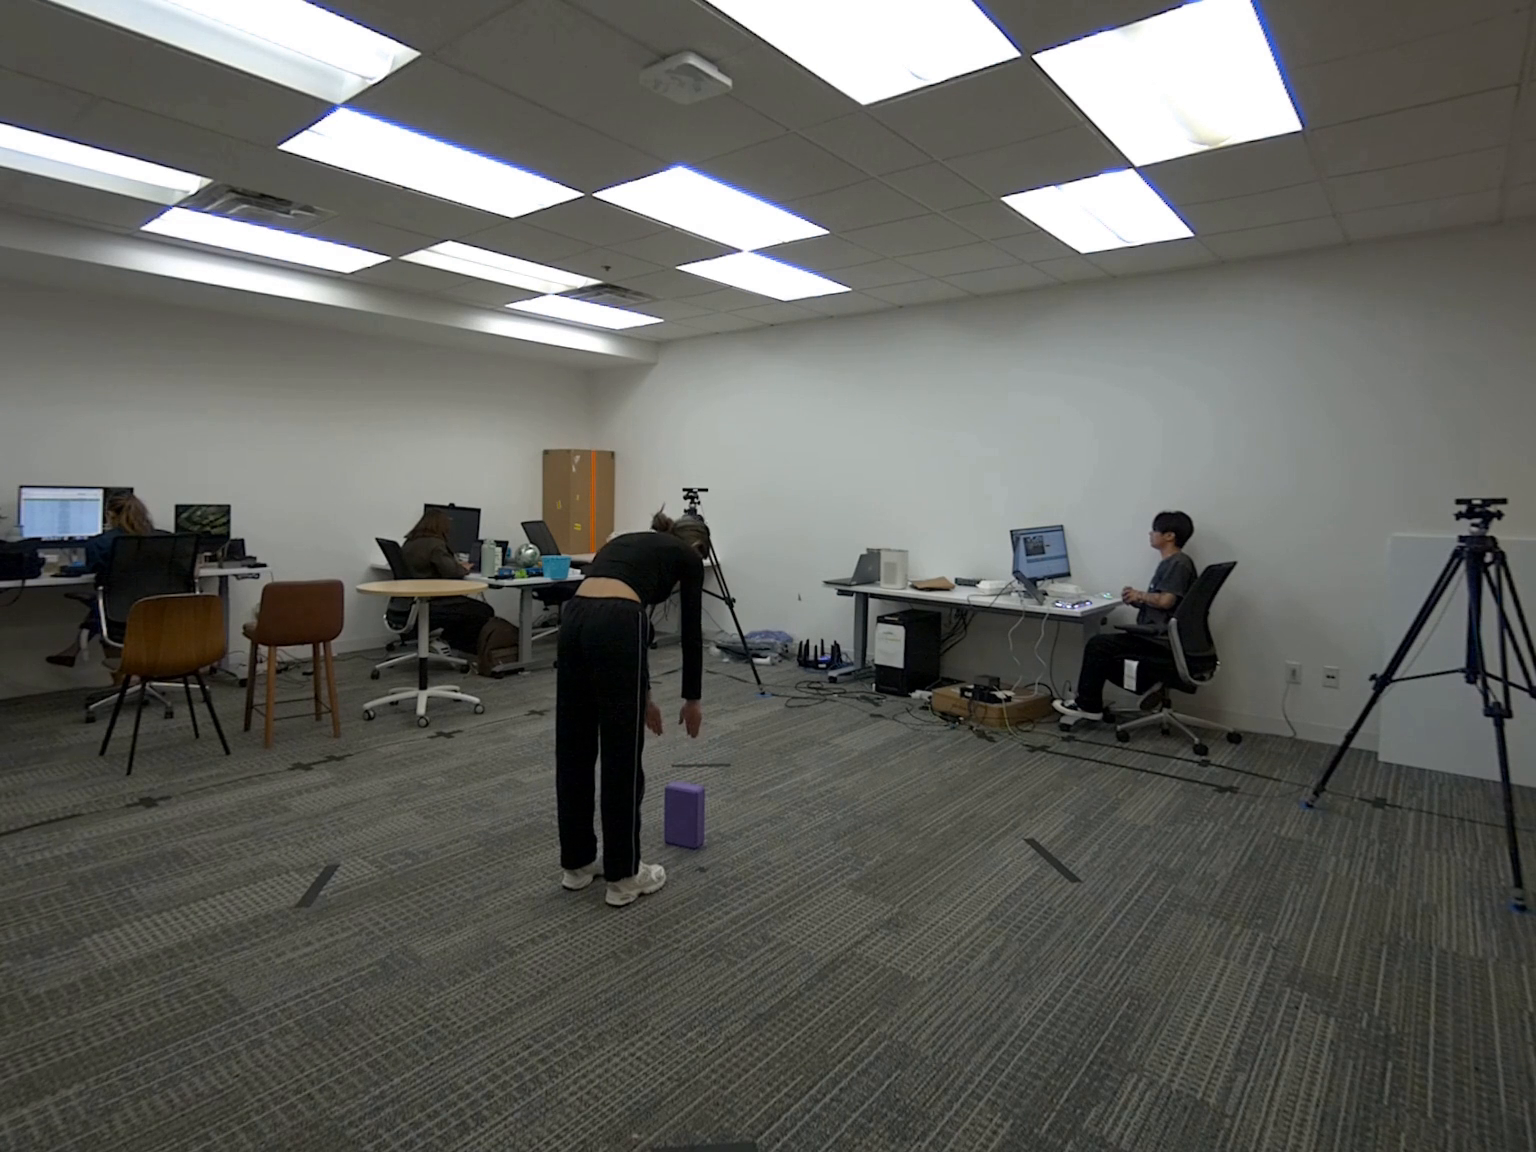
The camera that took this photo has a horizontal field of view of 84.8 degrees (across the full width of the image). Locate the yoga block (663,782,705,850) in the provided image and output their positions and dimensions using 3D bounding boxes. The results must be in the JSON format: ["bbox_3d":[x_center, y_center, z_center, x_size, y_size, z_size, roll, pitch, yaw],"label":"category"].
[{"bbox_3d":[-0.339,0.931,3.332,0.153,0.229,0.075,2,2,24],"label":"yoga block"}]
